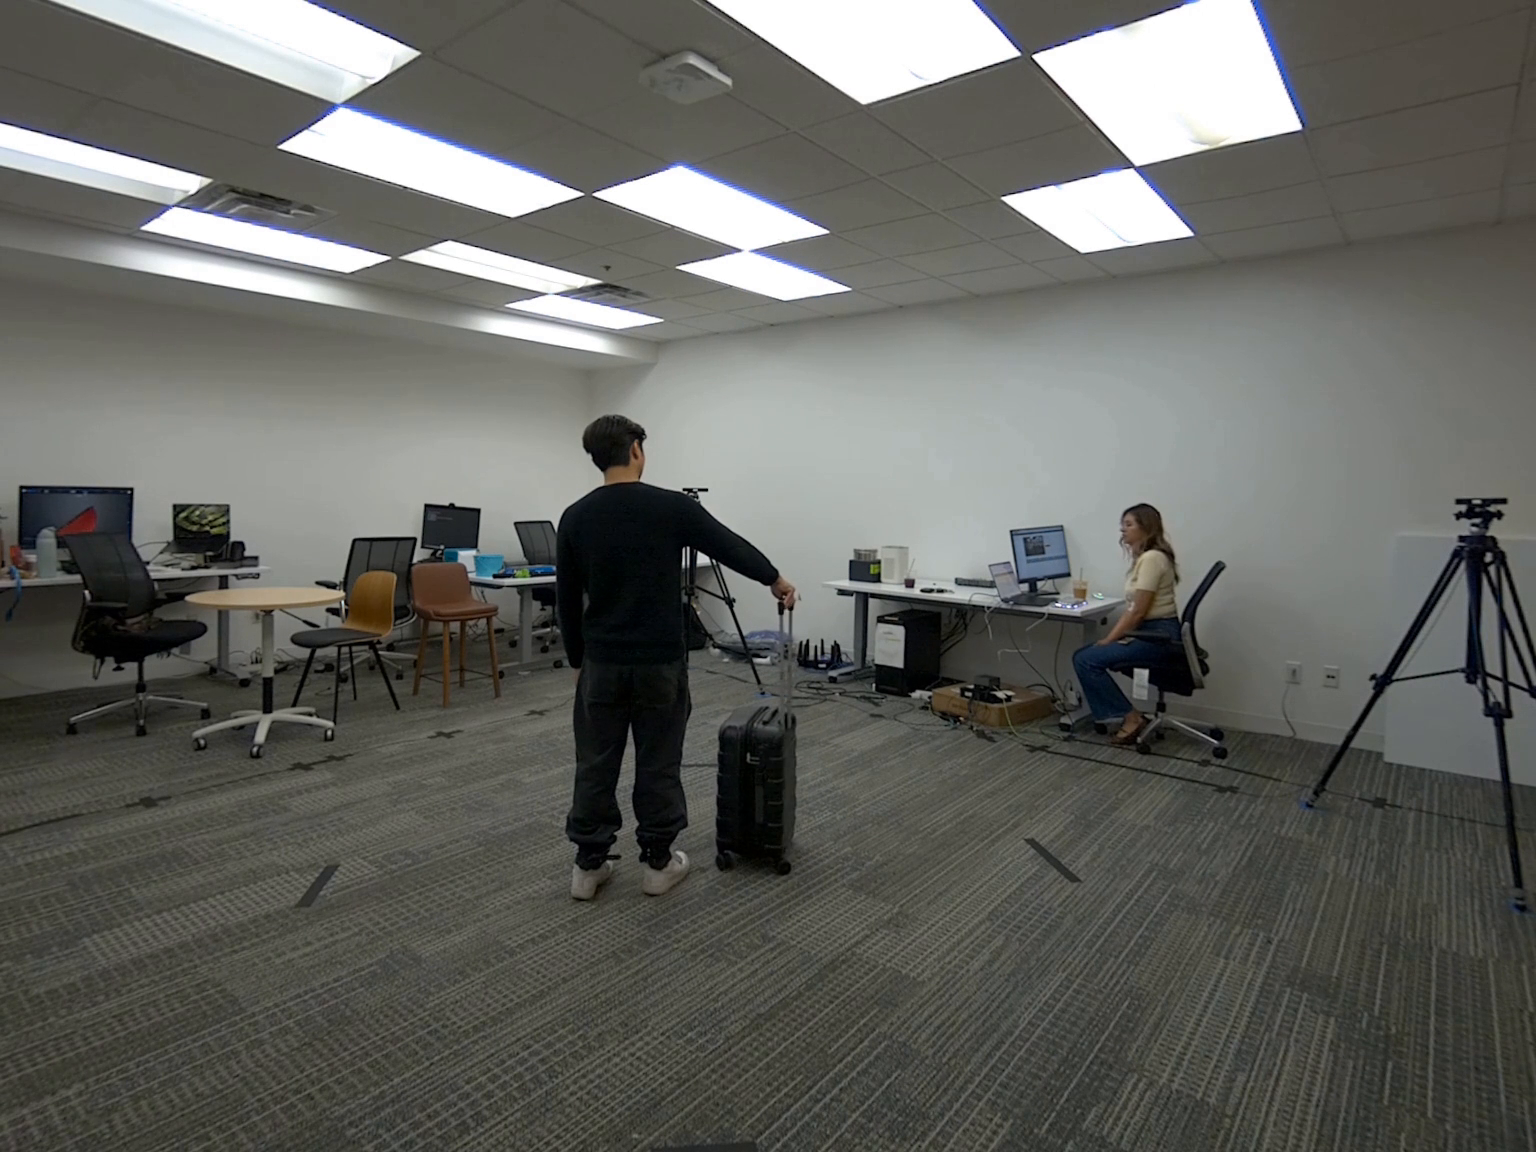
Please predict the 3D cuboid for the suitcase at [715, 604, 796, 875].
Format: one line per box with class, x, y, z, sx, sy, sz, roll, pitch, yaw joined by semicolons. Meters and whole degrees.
suitcase;-0.052;0.587;3.234;0.260;0.976;0.380;-1;2;12
